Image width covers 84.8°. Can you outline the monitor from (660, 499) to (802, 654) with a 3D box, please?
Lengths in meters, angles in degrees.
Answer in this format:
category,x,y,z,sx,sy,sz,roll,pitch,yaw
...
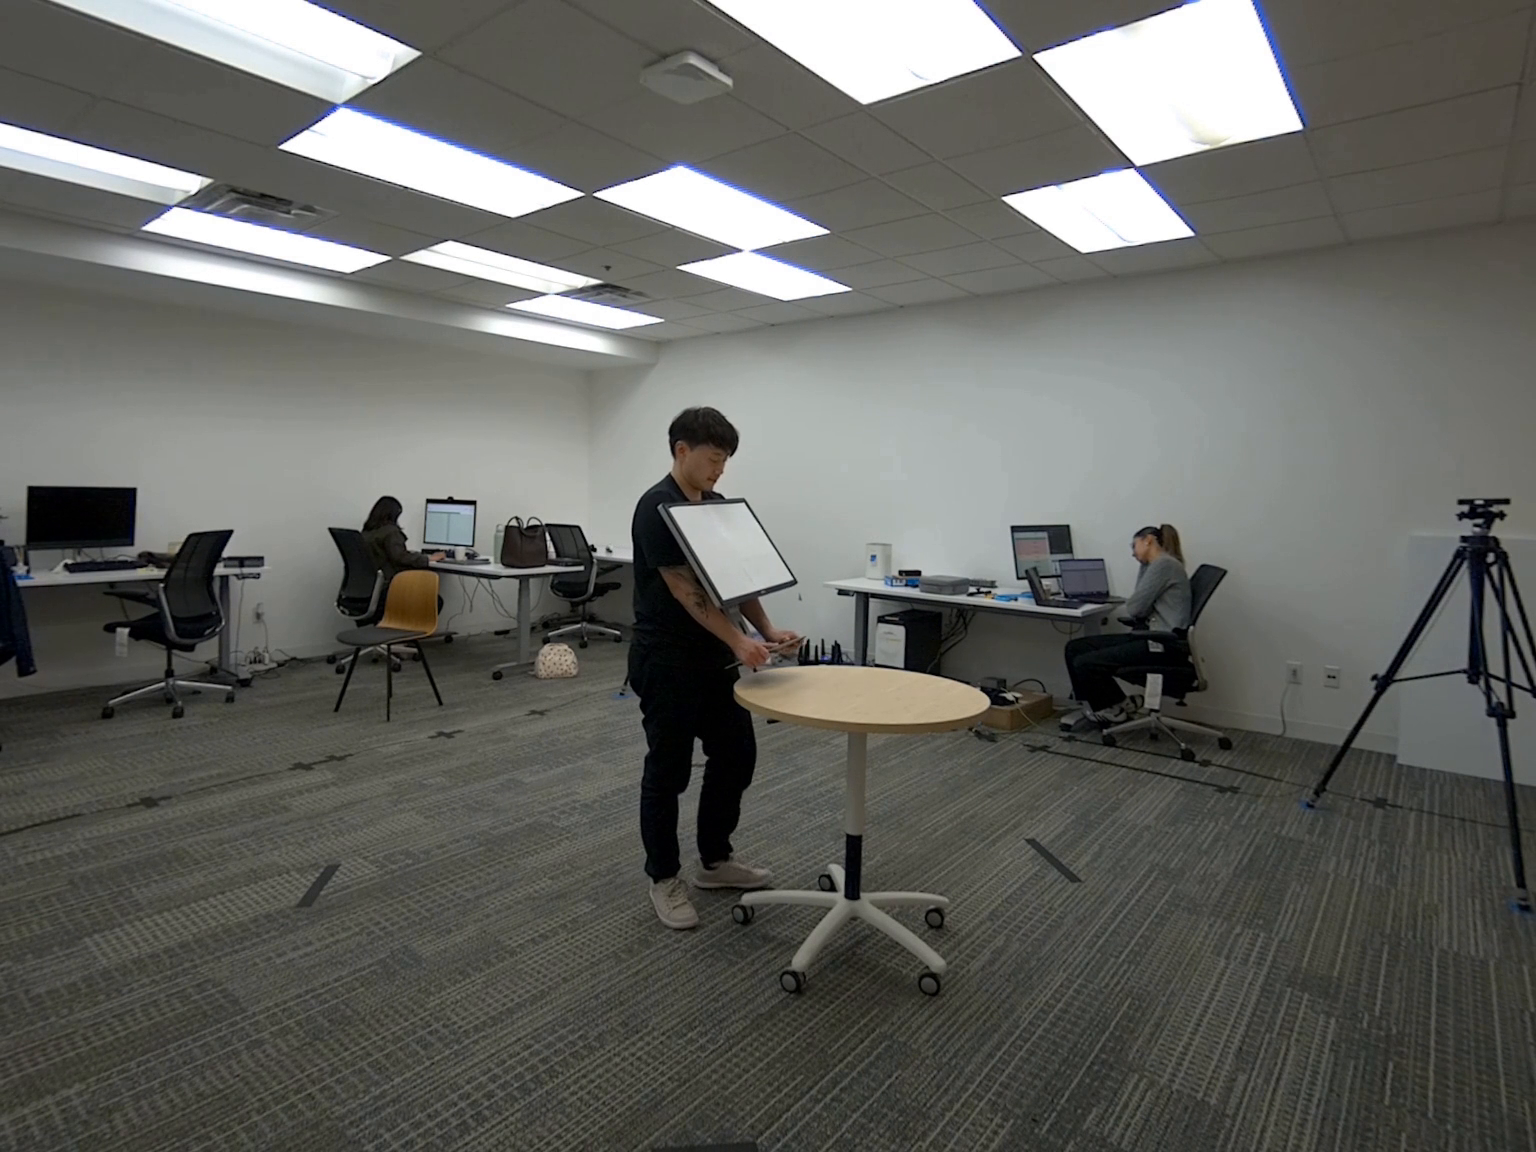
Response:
category,x,y,z,sx,sy,sz,roll,pitch,yaw
monitor,-0.110,-0.001,2.754,0.189,0.527,0.528,-26,-6,24
